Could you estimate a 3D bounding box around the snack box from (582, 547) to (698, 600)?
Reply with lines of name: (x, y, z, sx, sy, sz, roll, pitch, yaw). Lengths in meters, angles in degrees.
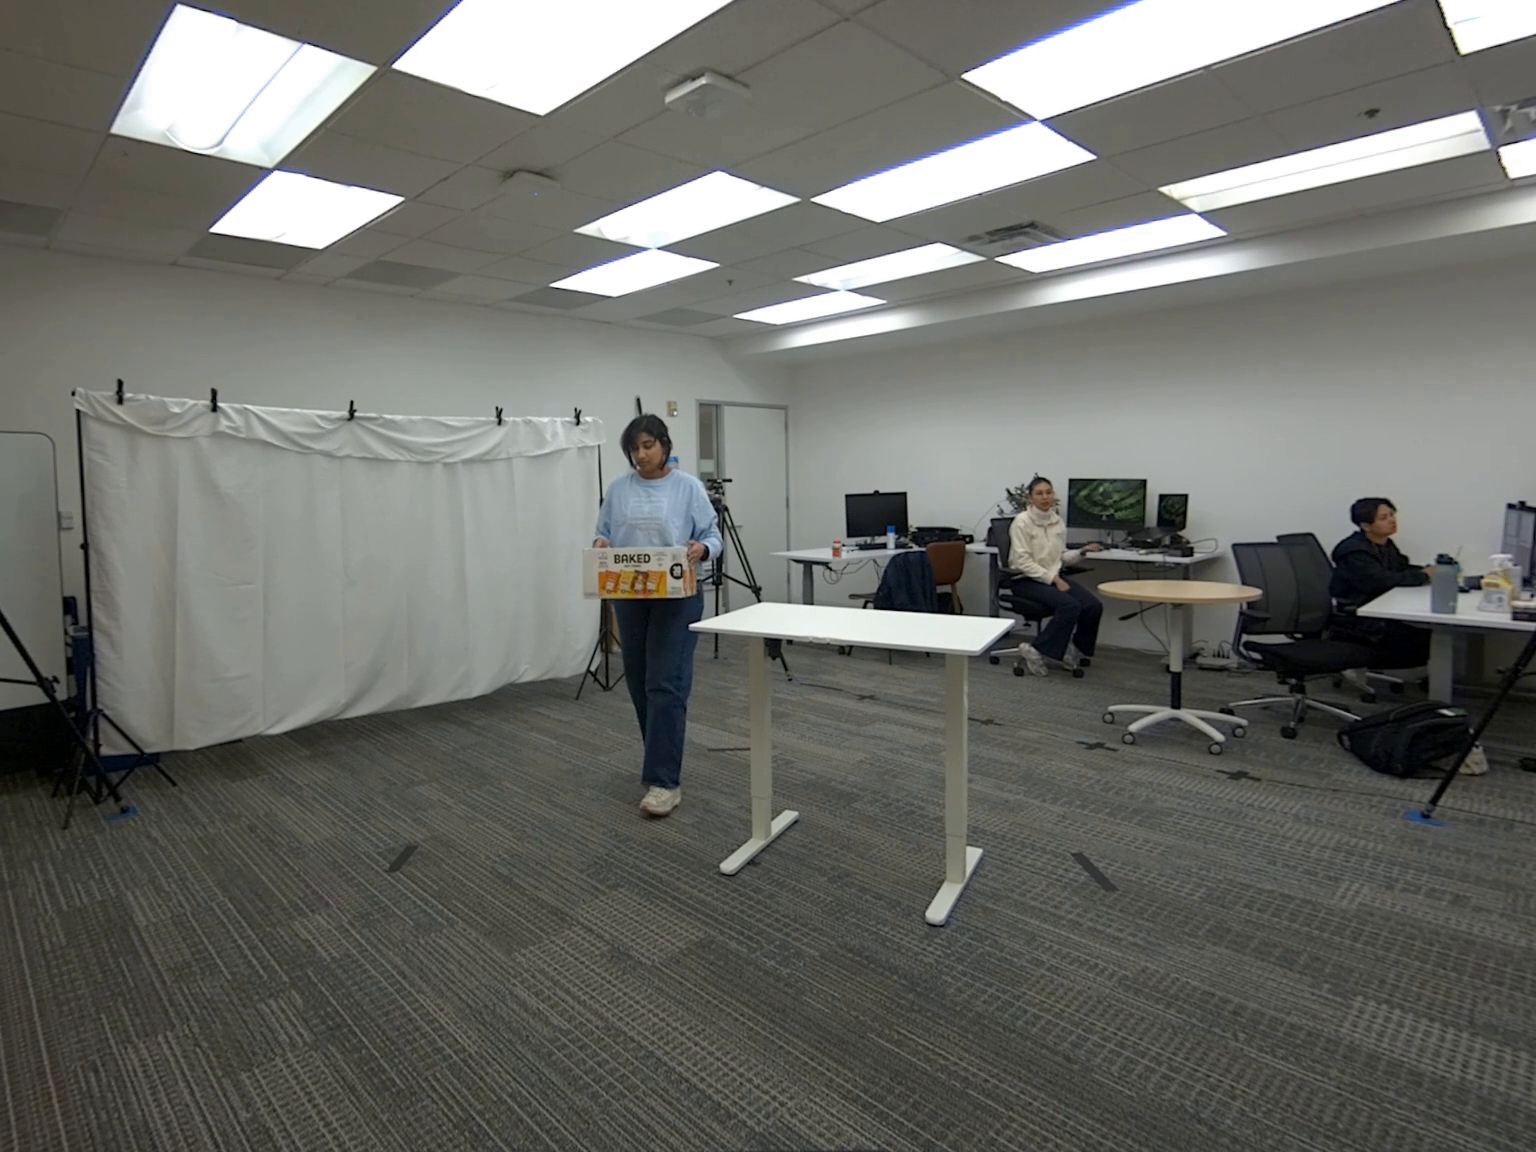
snack box: (-0.522, -0.013, 3.535, 0.408, 0.206, 0.337, -1, 1, 8)
